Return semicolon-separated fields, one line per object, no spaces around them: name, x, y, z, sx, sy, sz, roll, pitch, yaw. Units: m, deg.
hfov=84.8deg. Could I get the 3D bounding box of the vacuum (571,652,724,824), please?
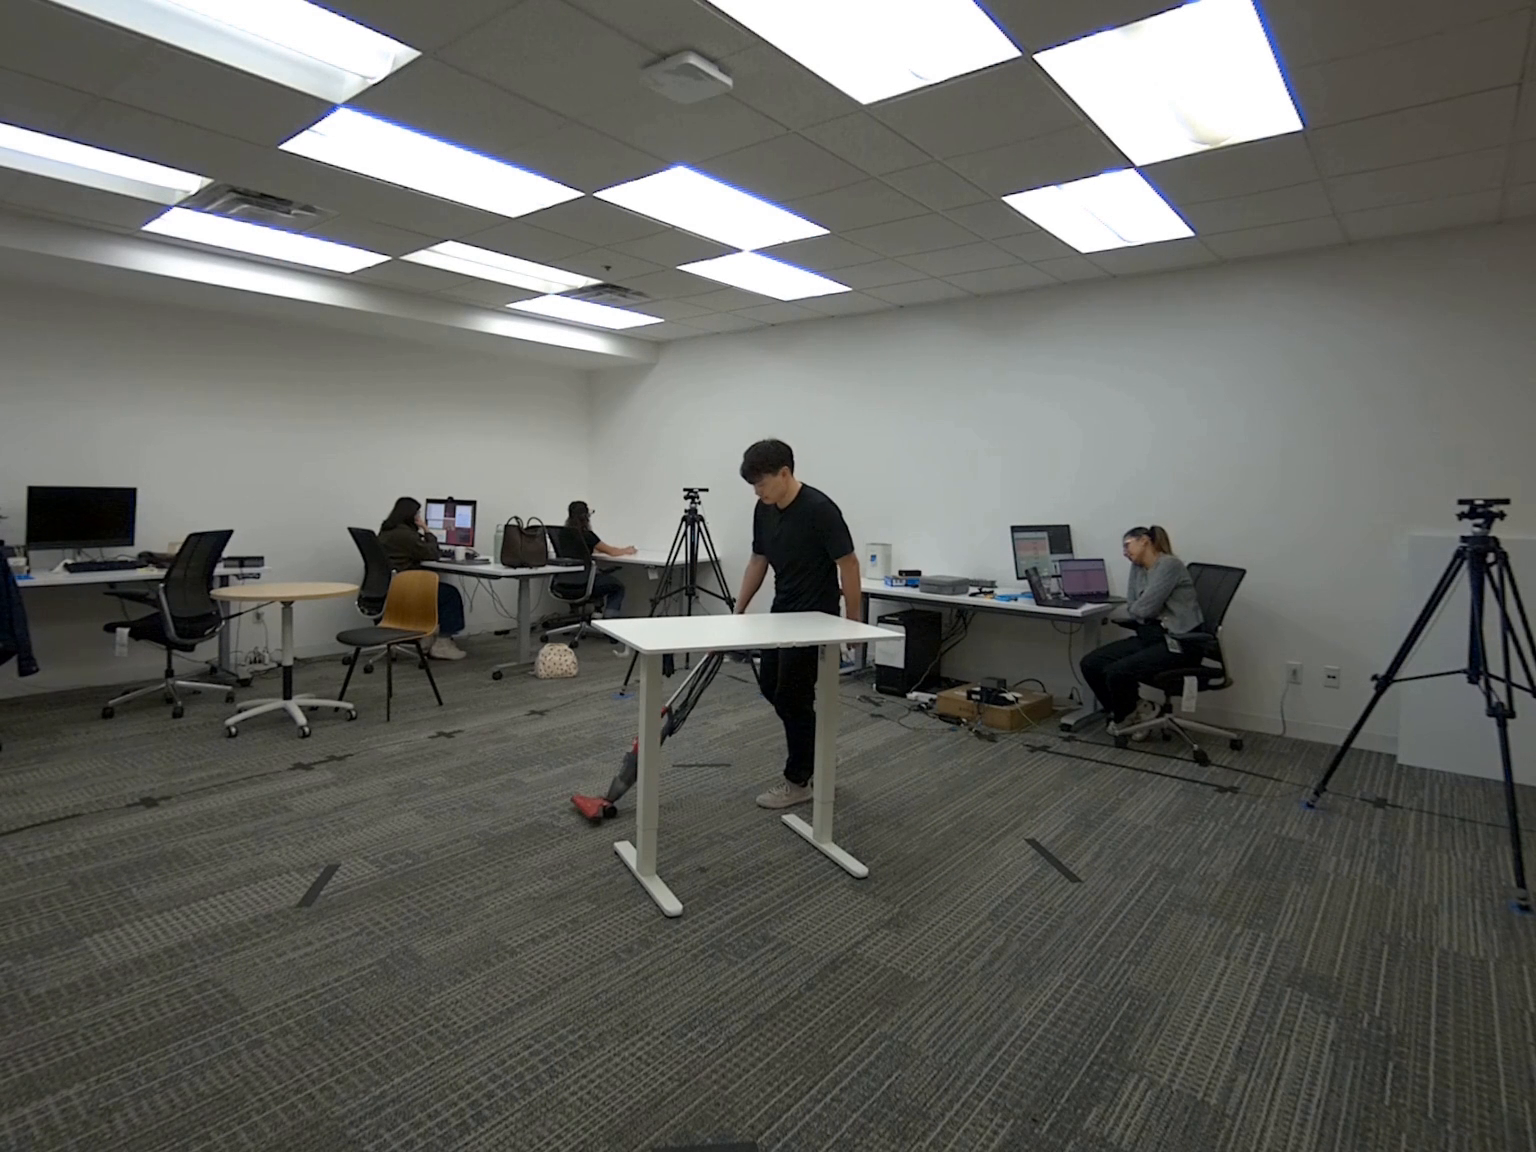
vacuum;-0.438;0.624;3.762;0.139;1.049;0.261;49;-19;-26
